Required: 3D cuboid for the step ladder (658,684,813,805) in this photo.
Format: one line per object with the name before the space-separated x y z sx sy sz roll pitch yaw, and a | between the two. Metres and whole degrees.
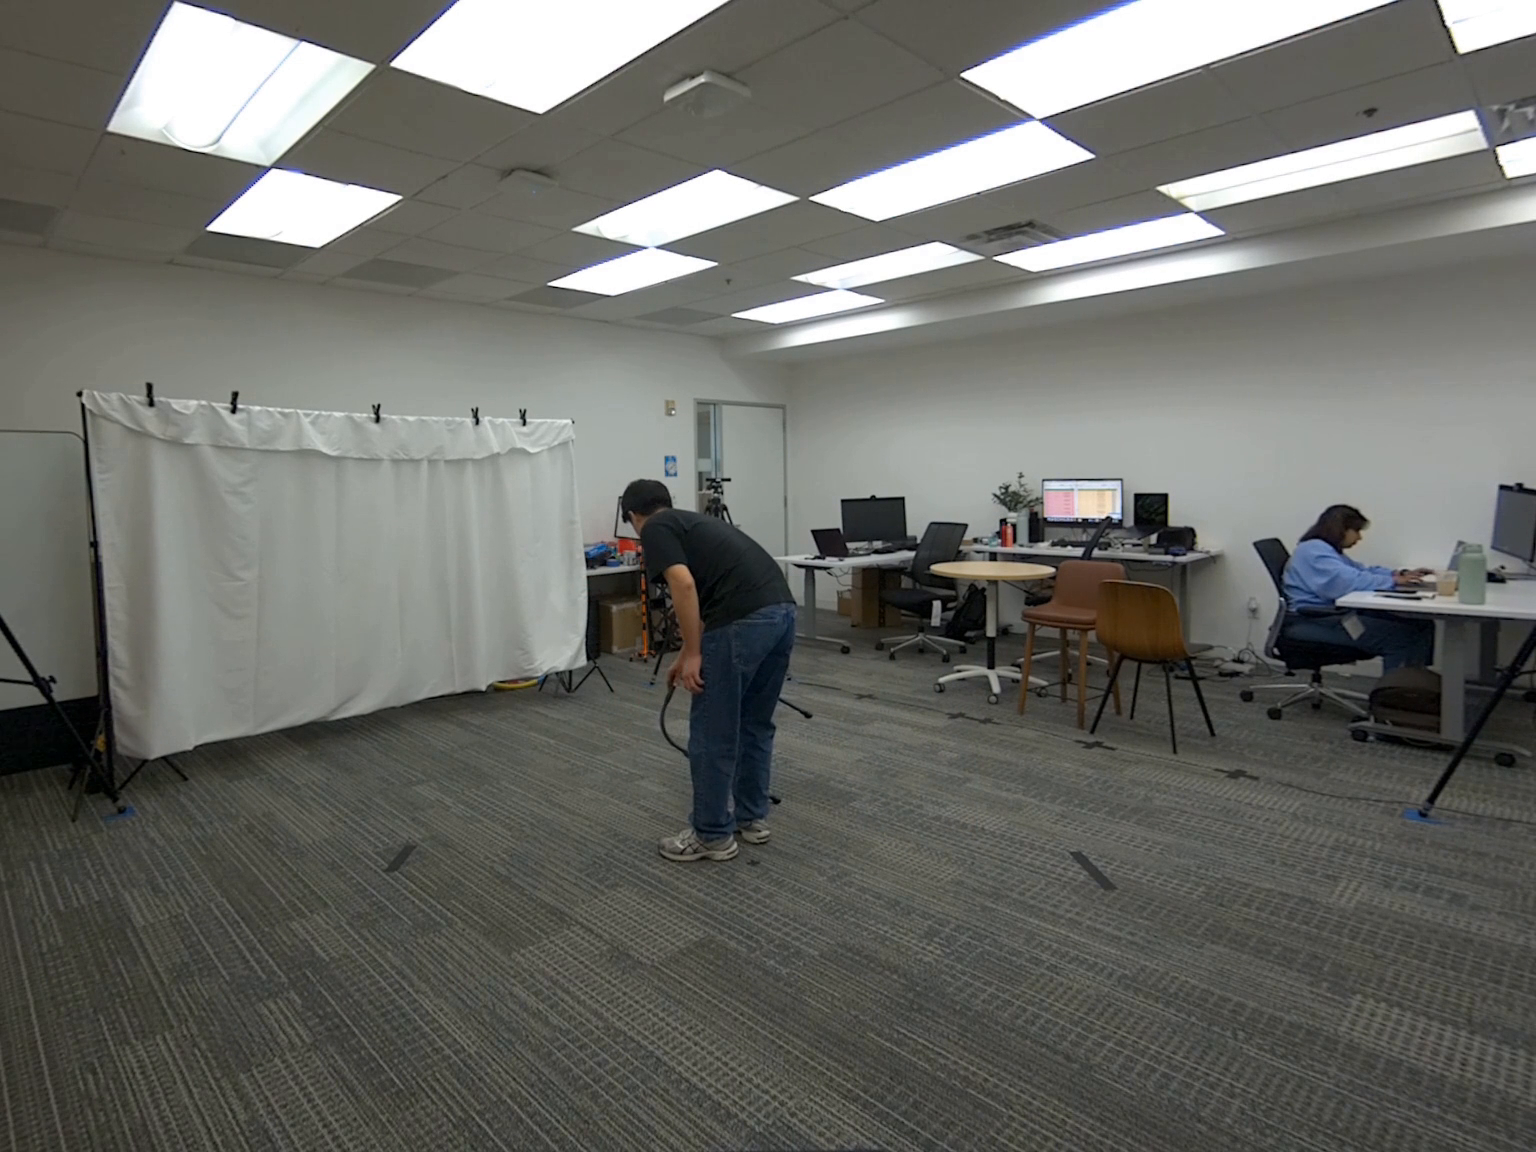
step ladder | -0.169 0.633 3.699 0.359 0.434 0.583 0 -33 45
